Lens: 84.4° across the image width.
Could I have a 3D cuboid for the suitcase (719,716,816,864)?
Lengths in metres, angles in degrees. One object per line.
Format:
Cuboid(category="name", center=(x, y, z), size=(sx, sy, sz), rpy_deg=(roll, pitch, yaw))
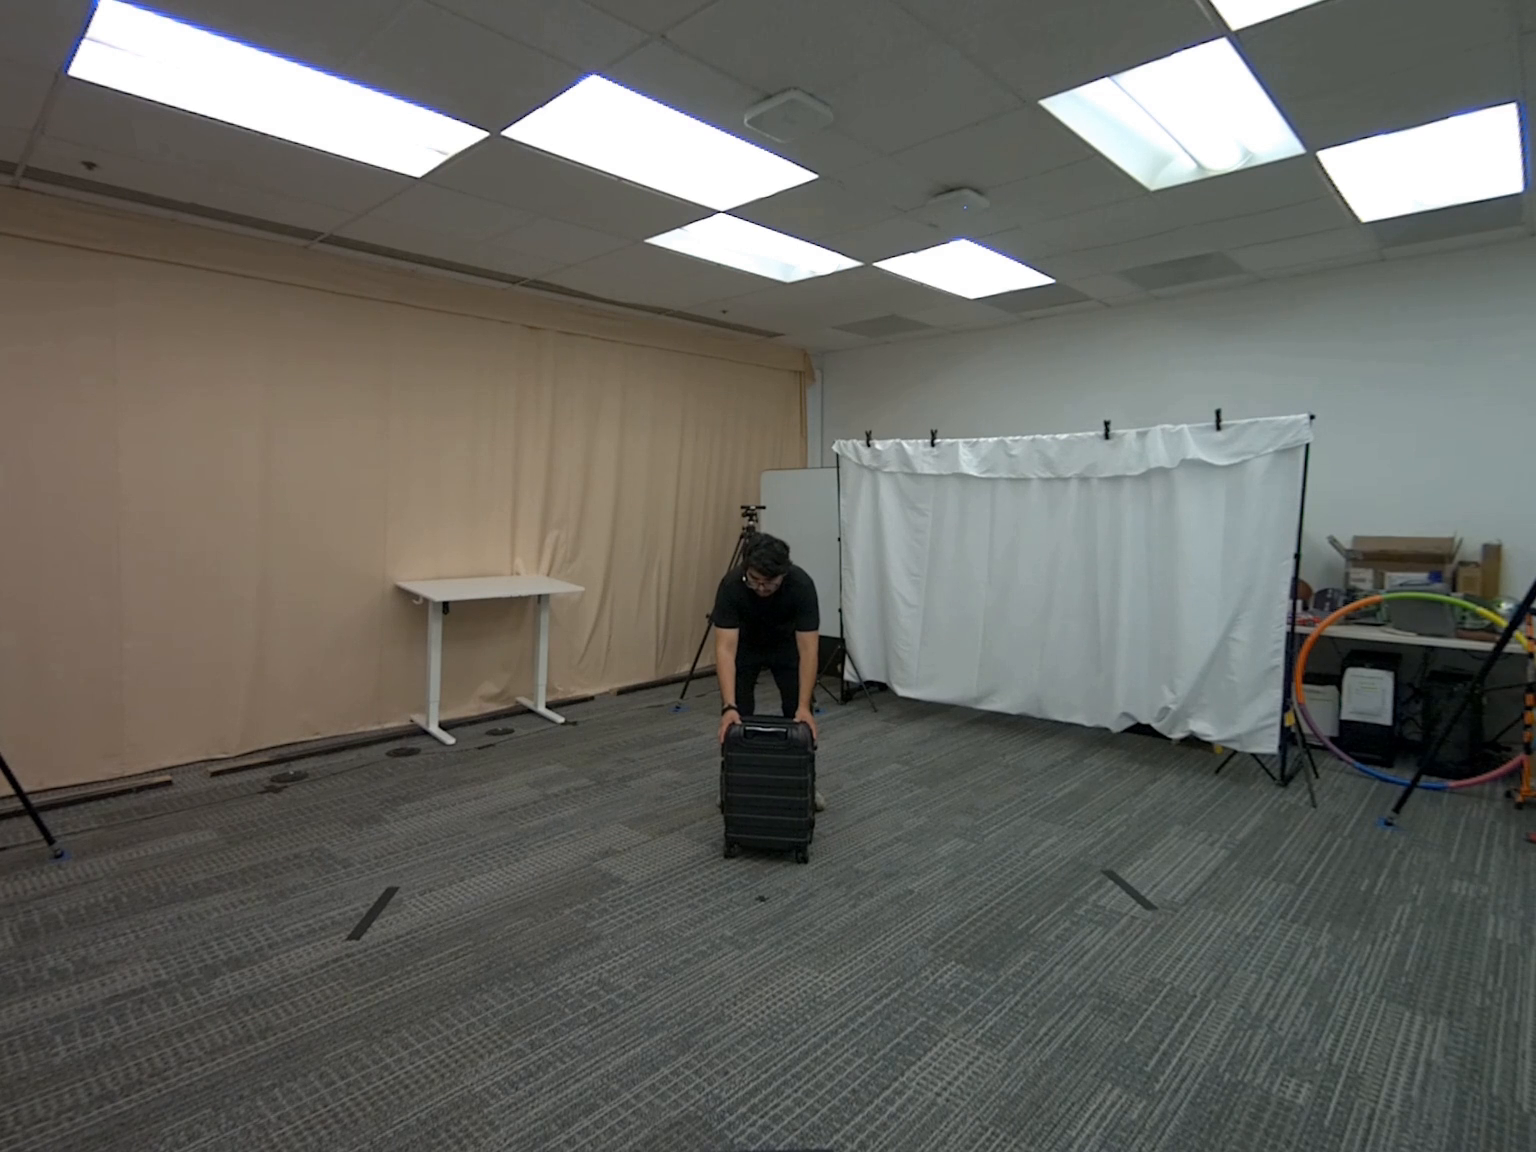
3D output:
Cuboid(category="suitcase", center=(0.001, 0.831, 3.375), size=(0.379, 0.547, 0.247), rpy_deg=(1, 5, 8))
